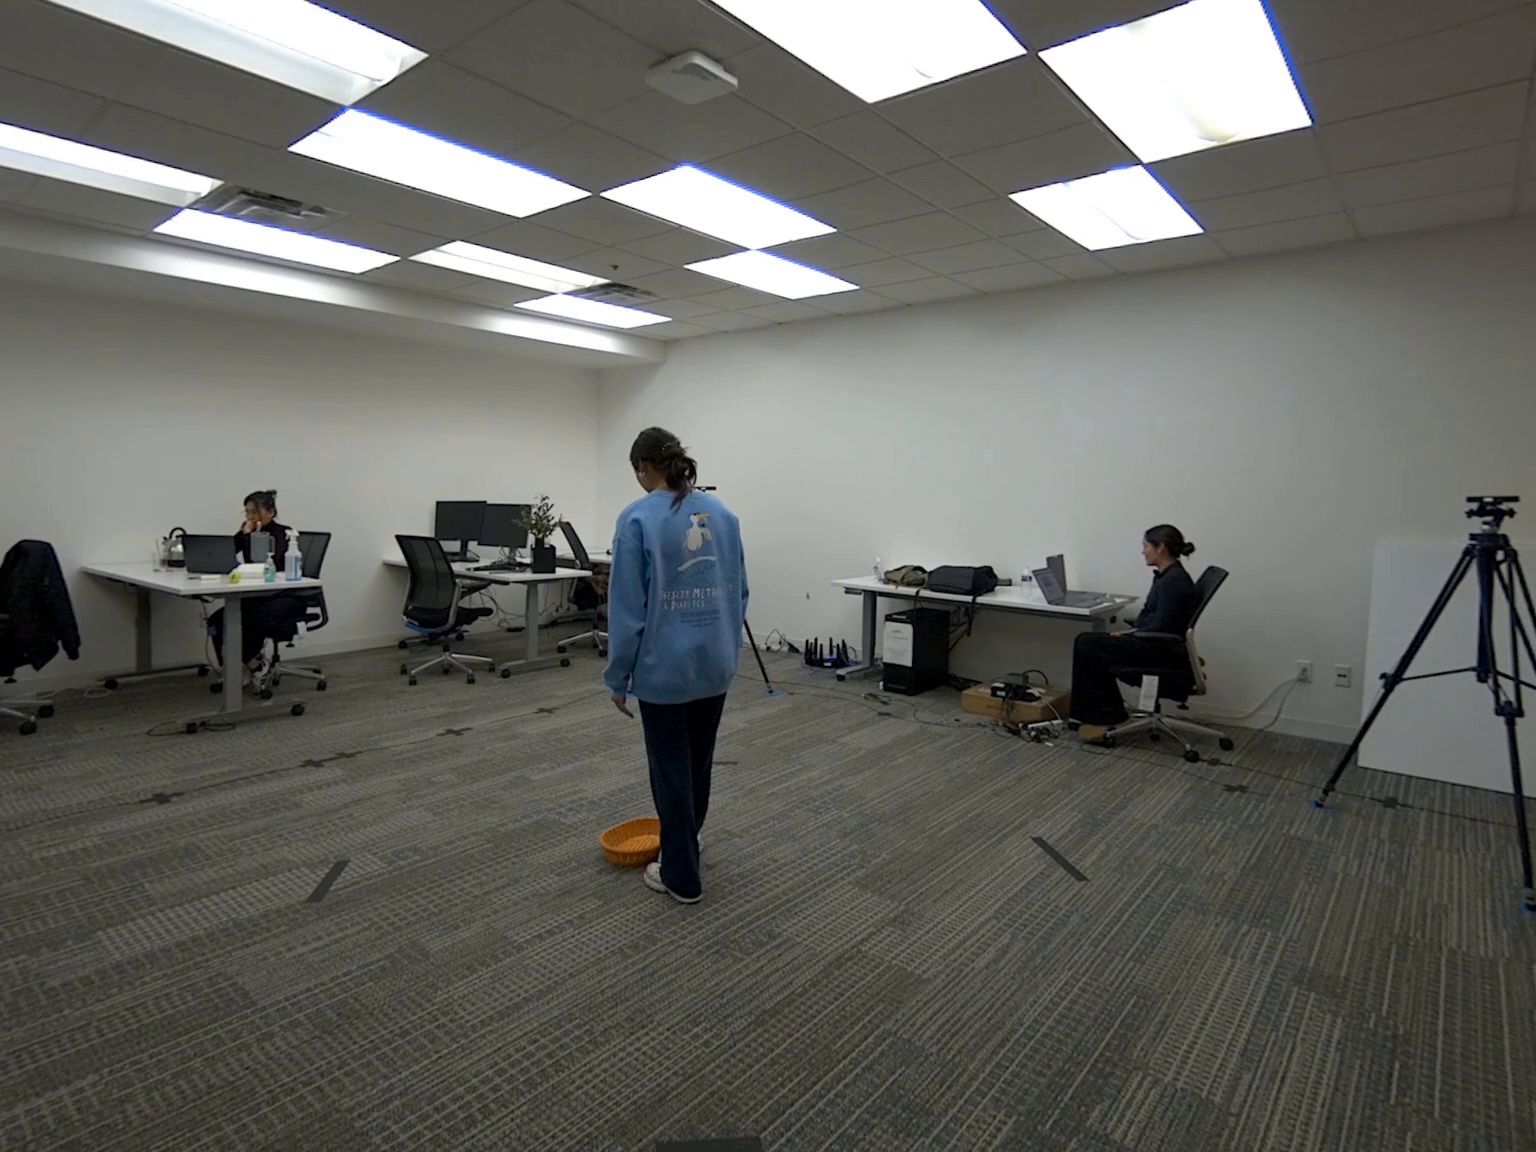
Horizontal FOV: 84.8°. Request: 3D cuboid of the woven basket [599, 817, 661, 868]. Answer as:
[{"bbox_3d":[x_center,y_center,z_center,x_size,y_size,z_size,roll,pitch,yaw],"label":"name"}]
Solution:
[{"bbox_3d":[-0.498,1.004,3.234,0.260,0.073,0.341,4,7,35],"label":"woven basket"}]
